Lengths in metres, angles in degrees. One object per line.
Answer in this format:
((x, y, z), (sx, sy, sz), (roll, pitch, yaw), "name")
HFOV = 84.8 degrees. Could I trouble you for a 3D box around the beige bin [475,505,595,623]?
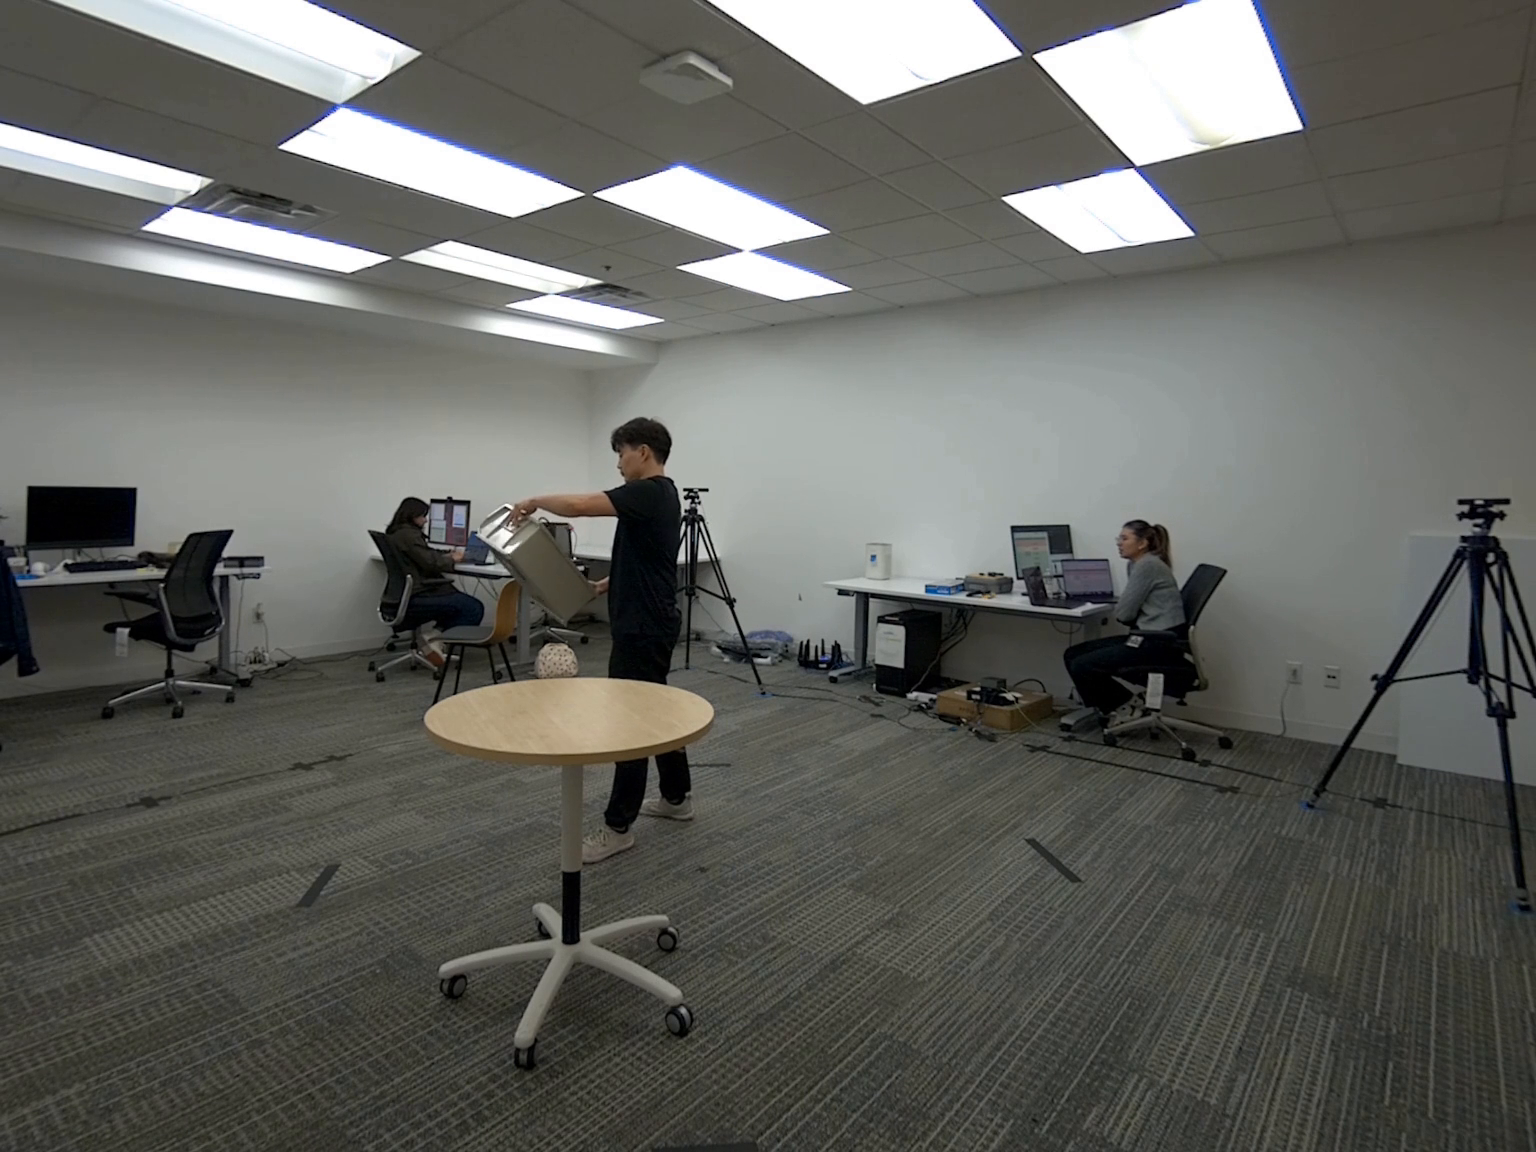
((-0.947, -0.051, 3.414), (0.189, 0.406, 0.392), (-45, 37, -17), "beige bin")
